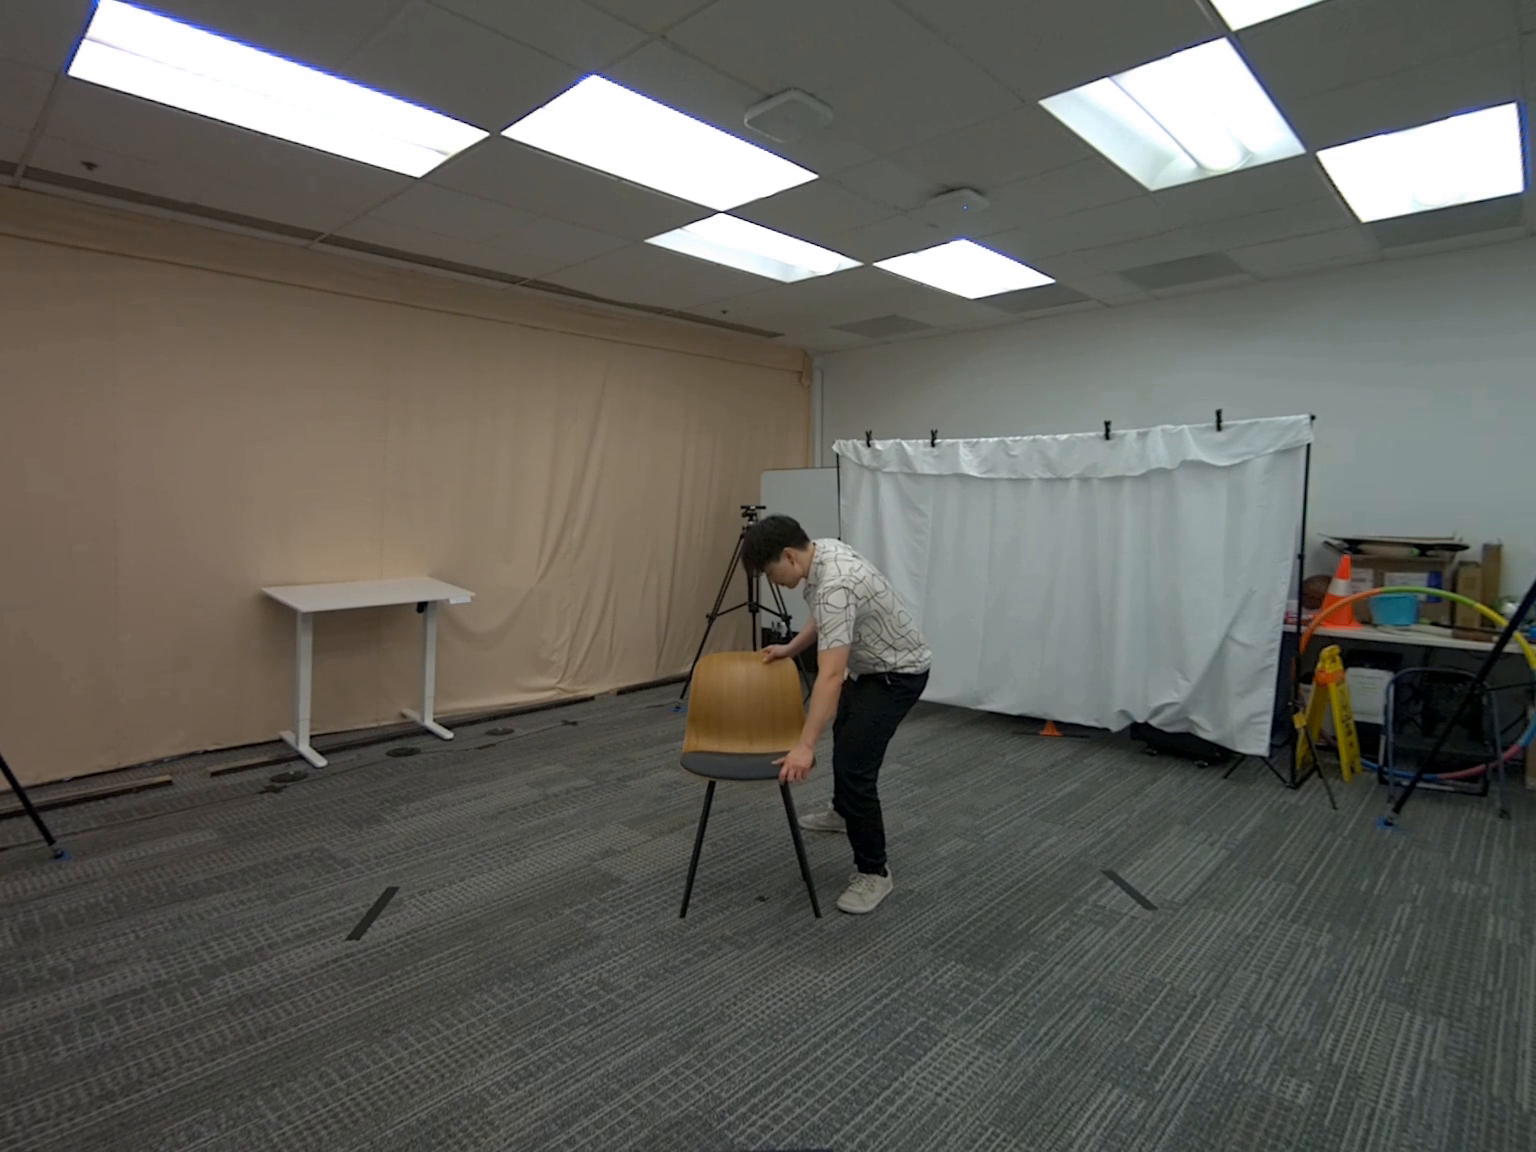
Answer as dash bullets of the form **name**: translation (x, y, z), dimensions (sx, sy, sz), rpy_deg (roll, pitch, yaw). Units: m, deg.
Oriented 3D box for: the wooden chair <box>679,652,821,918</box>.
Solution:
- **wooden chair**: translation (-0.067, 0.695, 2.943), dimensions (0.477, 0.883, 0.521), rpy_deg (0, -10, -3)
